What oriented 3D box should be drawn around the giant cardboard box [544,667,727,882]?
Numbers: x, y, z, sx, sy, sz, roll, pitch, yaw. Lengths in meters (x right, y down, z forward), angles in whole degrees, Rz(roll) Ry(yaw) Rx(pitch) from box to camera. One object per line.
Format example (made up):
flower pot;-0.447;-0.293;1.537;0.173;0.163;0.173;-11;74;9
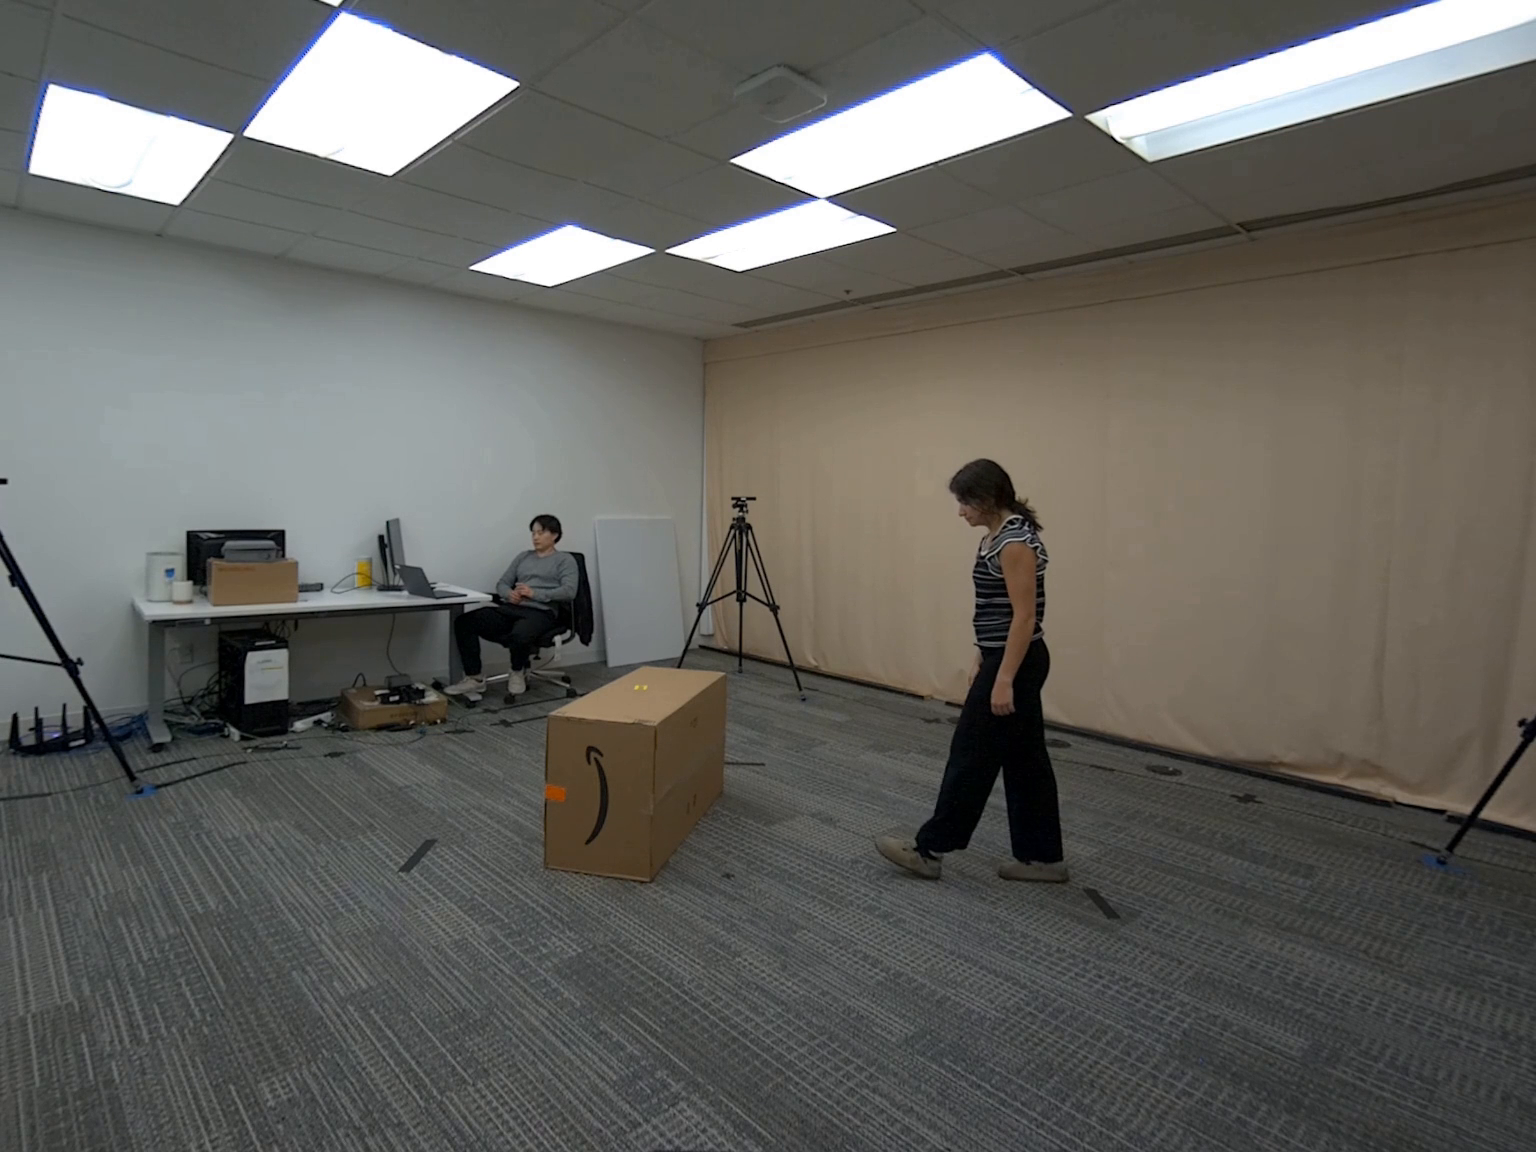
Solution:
giant cardboard box;-0.524;0.768;3.563;0.431;0.576;1.017;2;4;12
